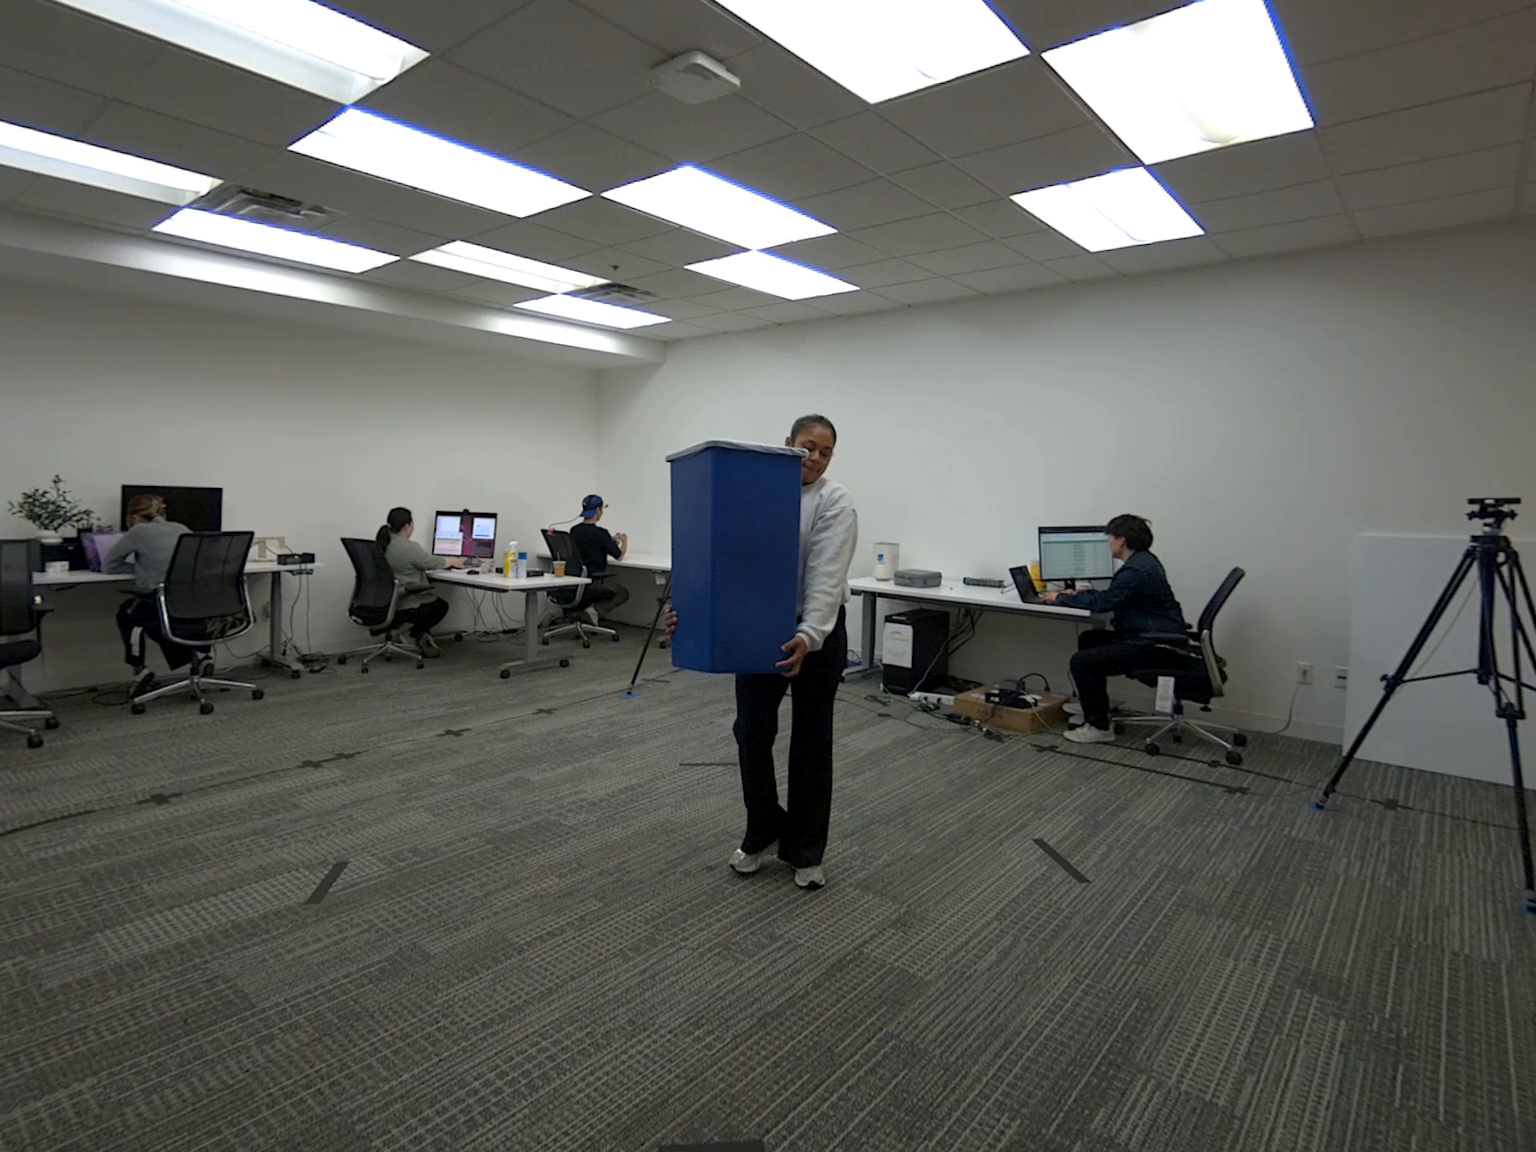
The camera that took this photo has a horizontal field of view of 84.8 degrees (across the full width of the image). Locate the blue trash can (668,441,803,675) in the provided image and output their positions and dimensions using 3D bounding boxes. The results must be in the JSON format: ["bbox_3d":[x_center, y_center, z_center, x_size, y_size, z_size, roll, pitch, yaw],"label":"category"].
[{"bbox_3d":[-0.132,-0.058,2.803,0.367,0.716,0.384,4,-4,-32],"label":"blue trash can"}]
